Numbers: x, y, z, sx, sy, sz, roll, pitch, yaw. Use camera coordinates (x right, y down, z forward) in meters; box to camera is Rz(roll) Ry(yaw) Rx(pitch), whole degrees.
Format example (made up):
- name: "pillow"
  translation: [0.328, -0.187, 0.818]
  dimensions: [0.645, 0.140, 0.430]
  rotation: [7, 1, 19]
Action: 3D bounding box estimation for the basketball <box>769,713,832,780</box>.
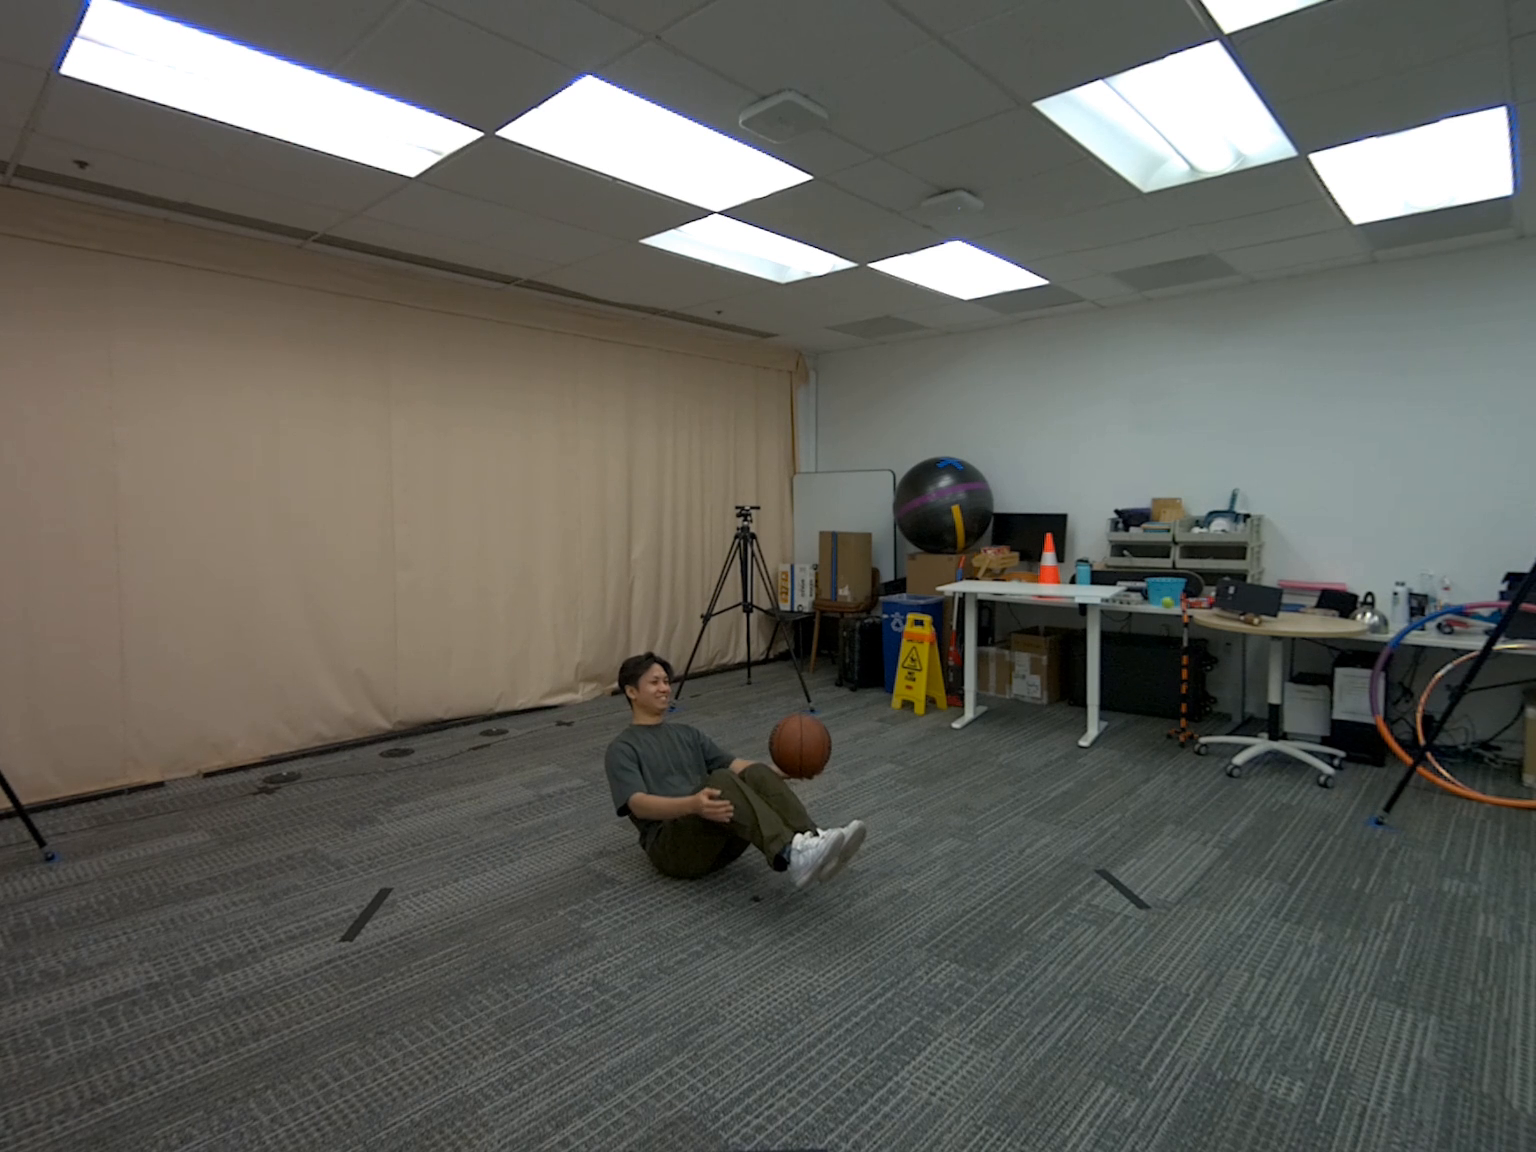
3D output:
- name: "basketball"
  translation: [0.118, 0.644, 3.186]
  dimensions: [0.236, 0.235, 0.237]
  rotation: [0, 4, -2]
